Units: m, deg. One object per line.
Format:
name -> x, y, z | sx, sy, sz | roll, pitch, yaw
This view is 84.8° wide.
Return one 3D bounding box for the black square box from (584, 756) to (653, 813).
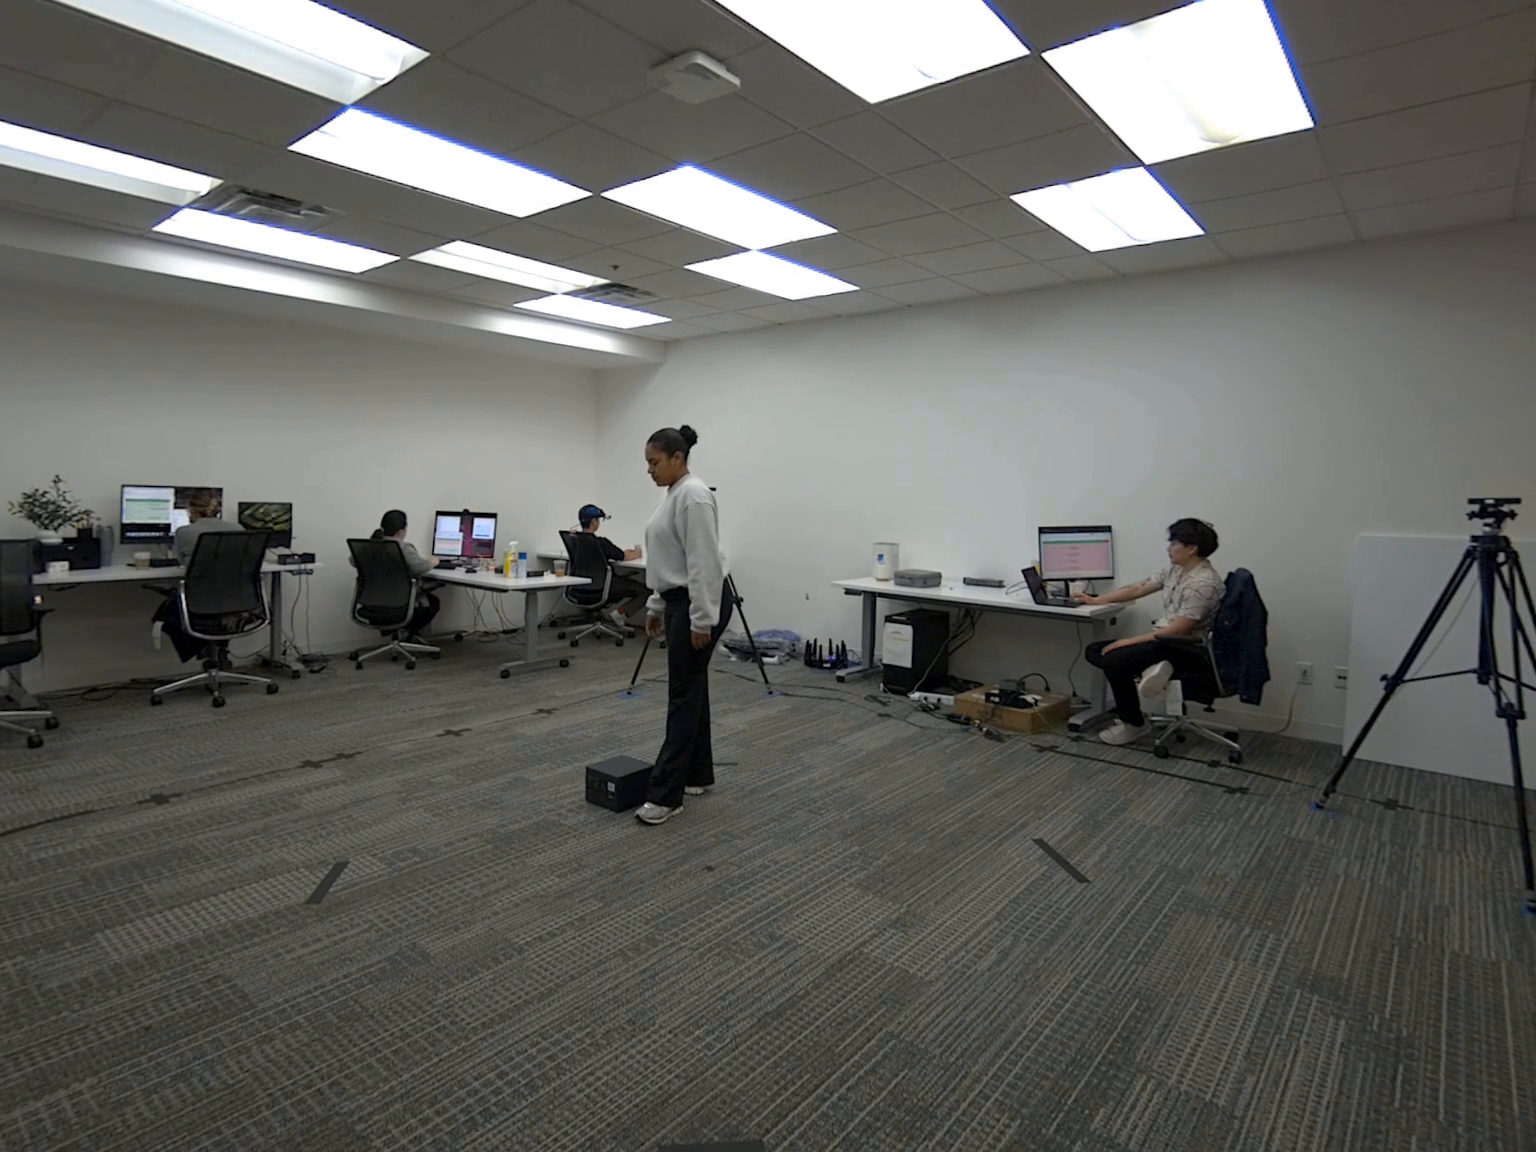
black square box -> -0.666, 0.911, 3.775 | 0.224, 0.155, 0.221 | 5, 6, 38
